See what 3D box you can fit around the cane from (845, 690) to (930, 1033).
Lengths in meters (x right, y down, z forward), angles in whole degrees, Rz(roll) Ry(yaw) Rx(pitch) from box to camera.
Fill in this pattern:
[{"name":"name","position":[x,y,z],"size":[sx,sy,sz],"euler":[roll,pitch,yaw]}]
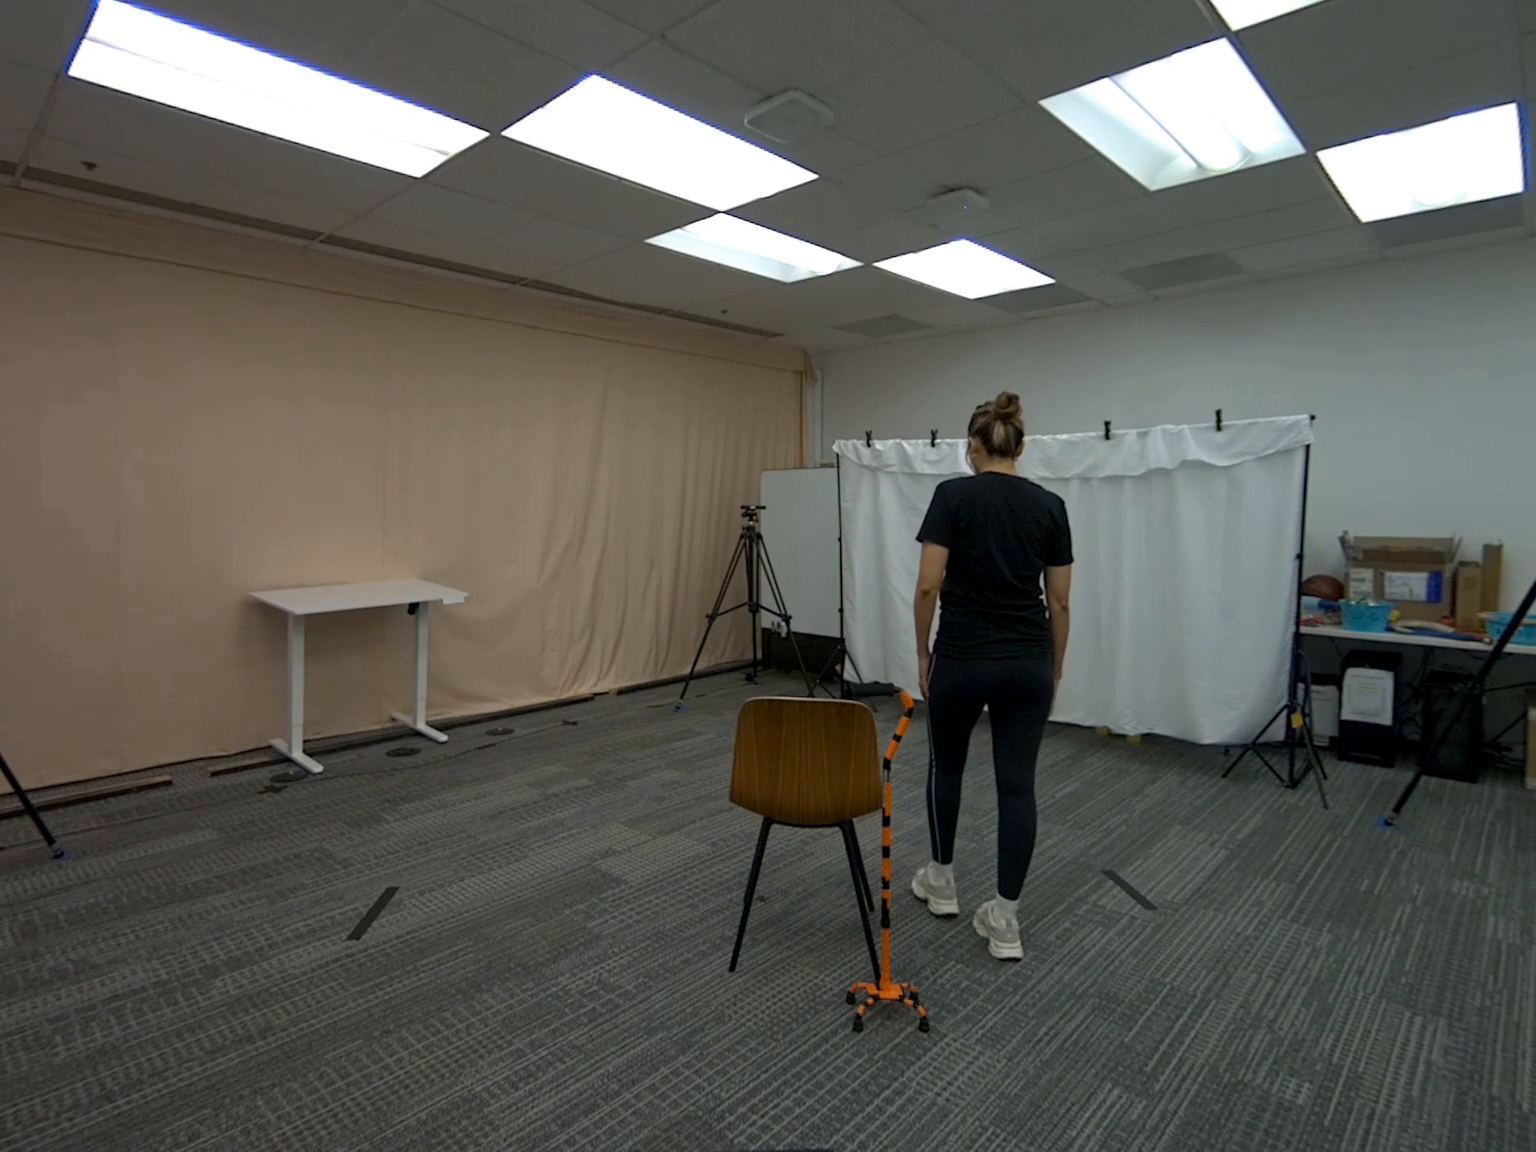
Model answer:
[{"name":"cane","position":[0.330,0.751,2.277],"size":[0.206,0.906,0.152],"euler":[0,2,-1]}]
